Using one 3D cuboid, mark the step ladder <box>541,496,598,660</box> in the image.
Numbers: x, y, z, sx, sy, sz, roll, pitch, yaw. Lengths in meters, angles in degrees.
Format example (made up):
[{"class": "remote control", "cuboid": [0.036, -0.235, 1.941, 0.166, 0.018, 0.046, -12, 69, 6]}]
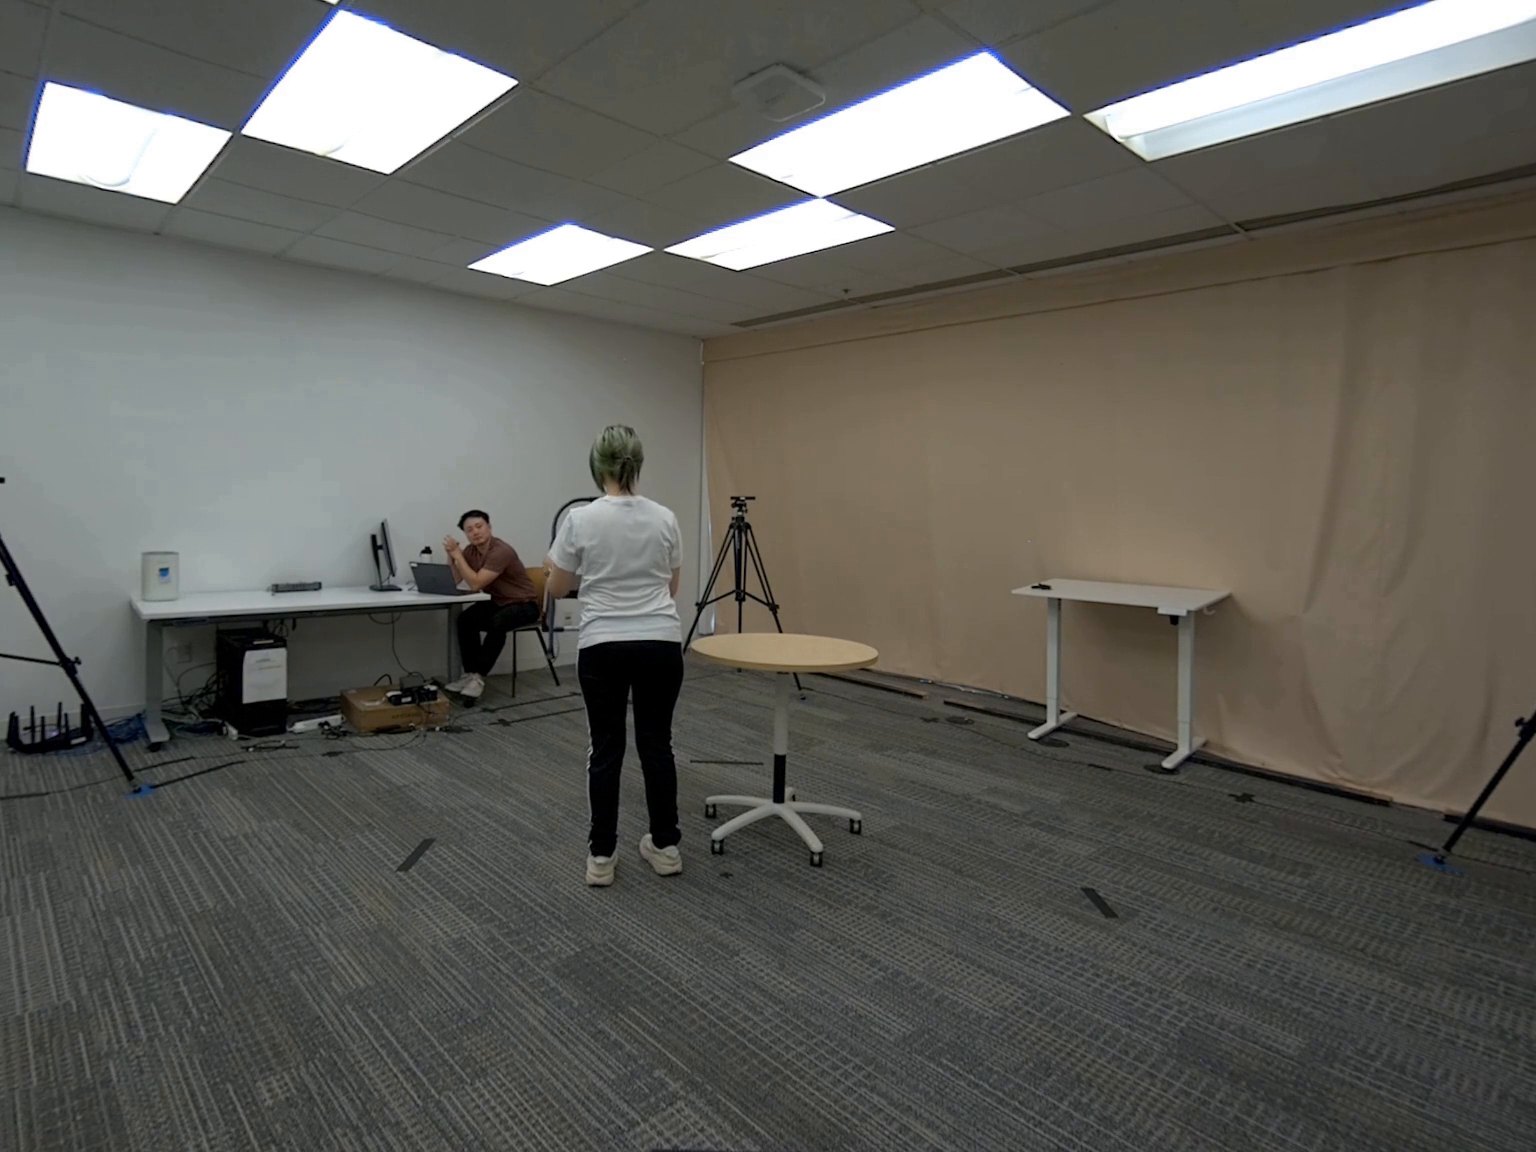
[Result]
[{"class": "step ladder", "cuboid": [-0.689, -0.010, 3.448, 0.424, 0.602, 0.357, 2, 12, -20]}]
